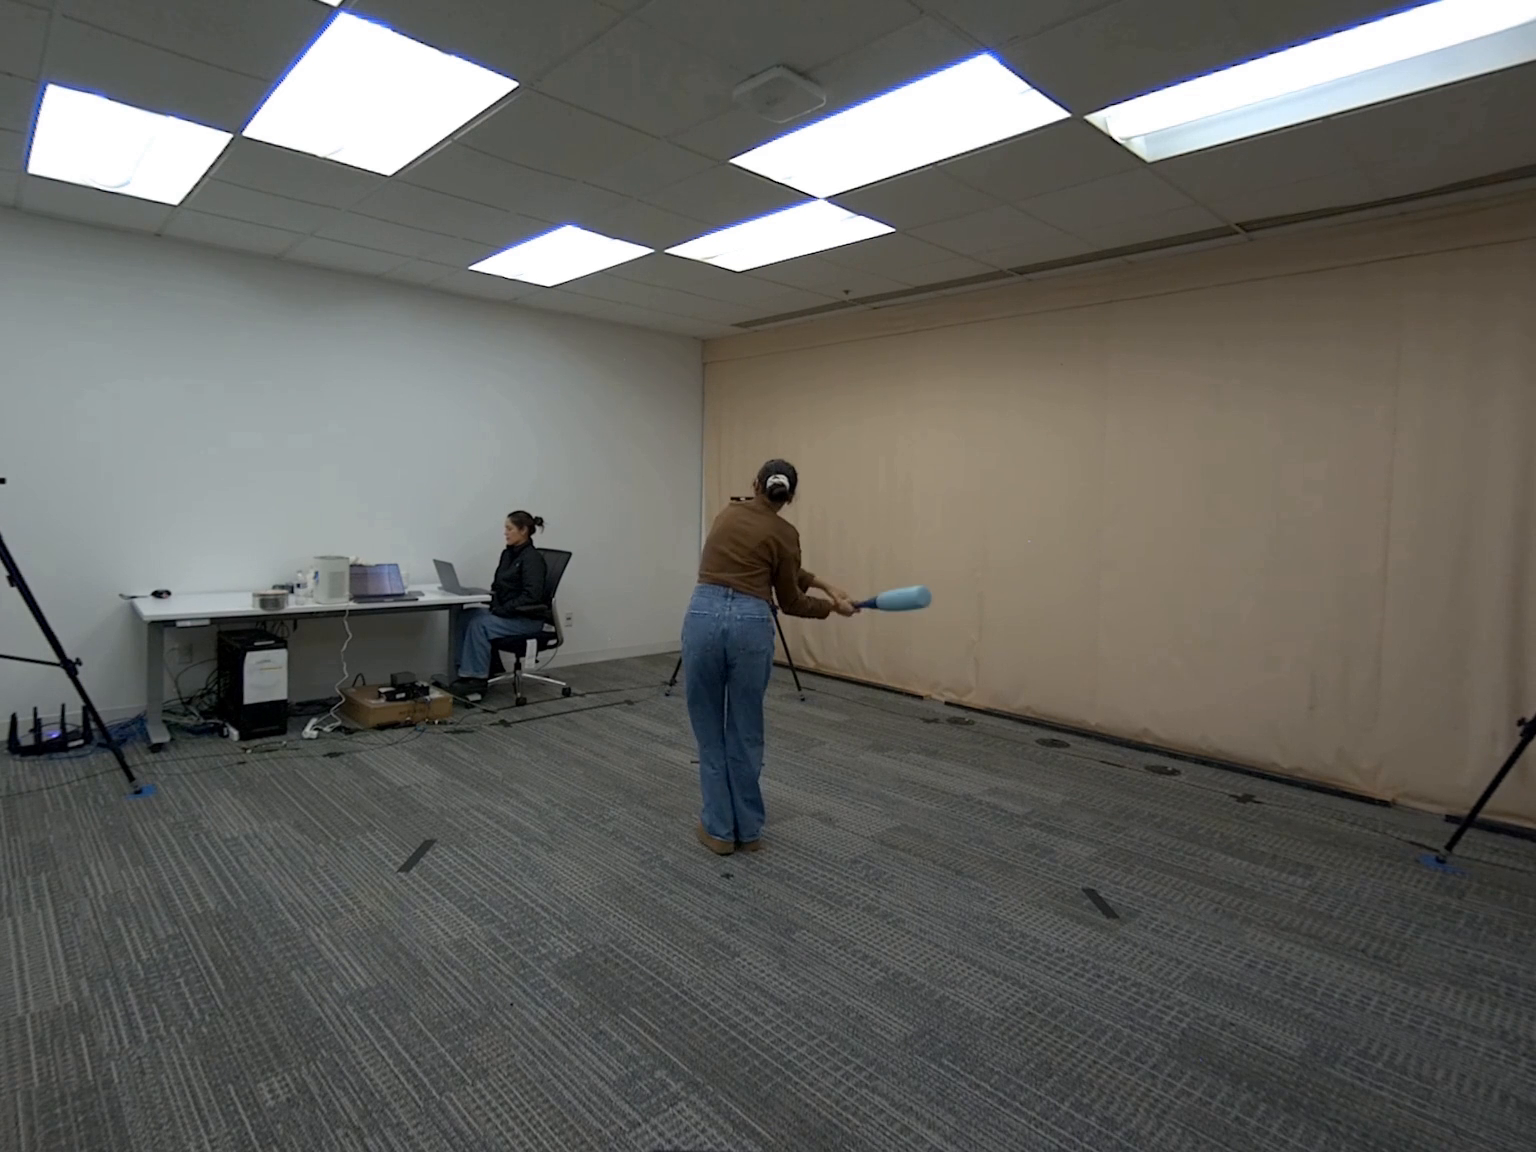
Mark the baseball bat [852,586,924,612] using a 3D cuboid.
[{"bbox_3d":[0.388,0.112,3.448,0.087,0.089,0.551,-1,-5,-29],"label":"baseball bat"}]
